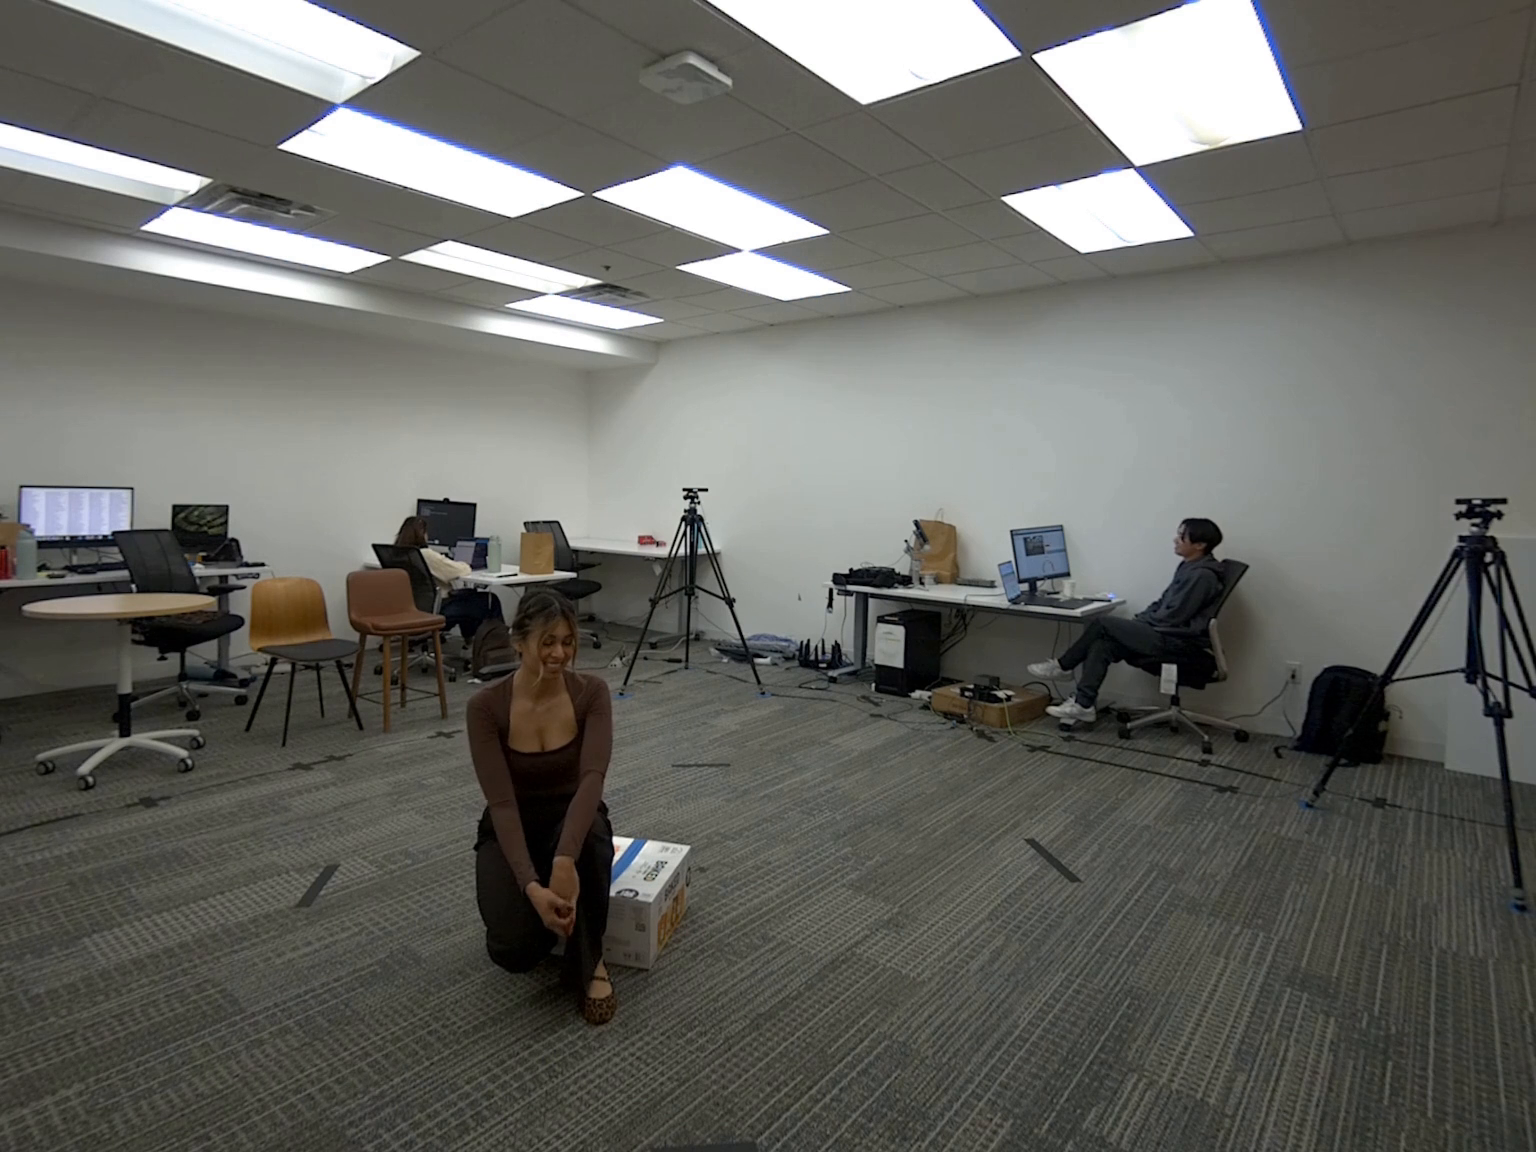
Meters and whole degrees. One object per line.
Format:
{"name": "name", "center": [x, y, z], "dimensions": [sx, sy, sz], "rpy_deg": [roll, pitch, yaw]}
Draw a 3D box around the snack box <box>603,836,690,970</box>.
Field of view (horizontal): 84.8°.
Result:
{"name": "snack box", "center": [-0.469, 1.008, 2.671], "dimensions": [0.345, 0.205, 0.401], "rpy_deg": [1, 5, 13]}
